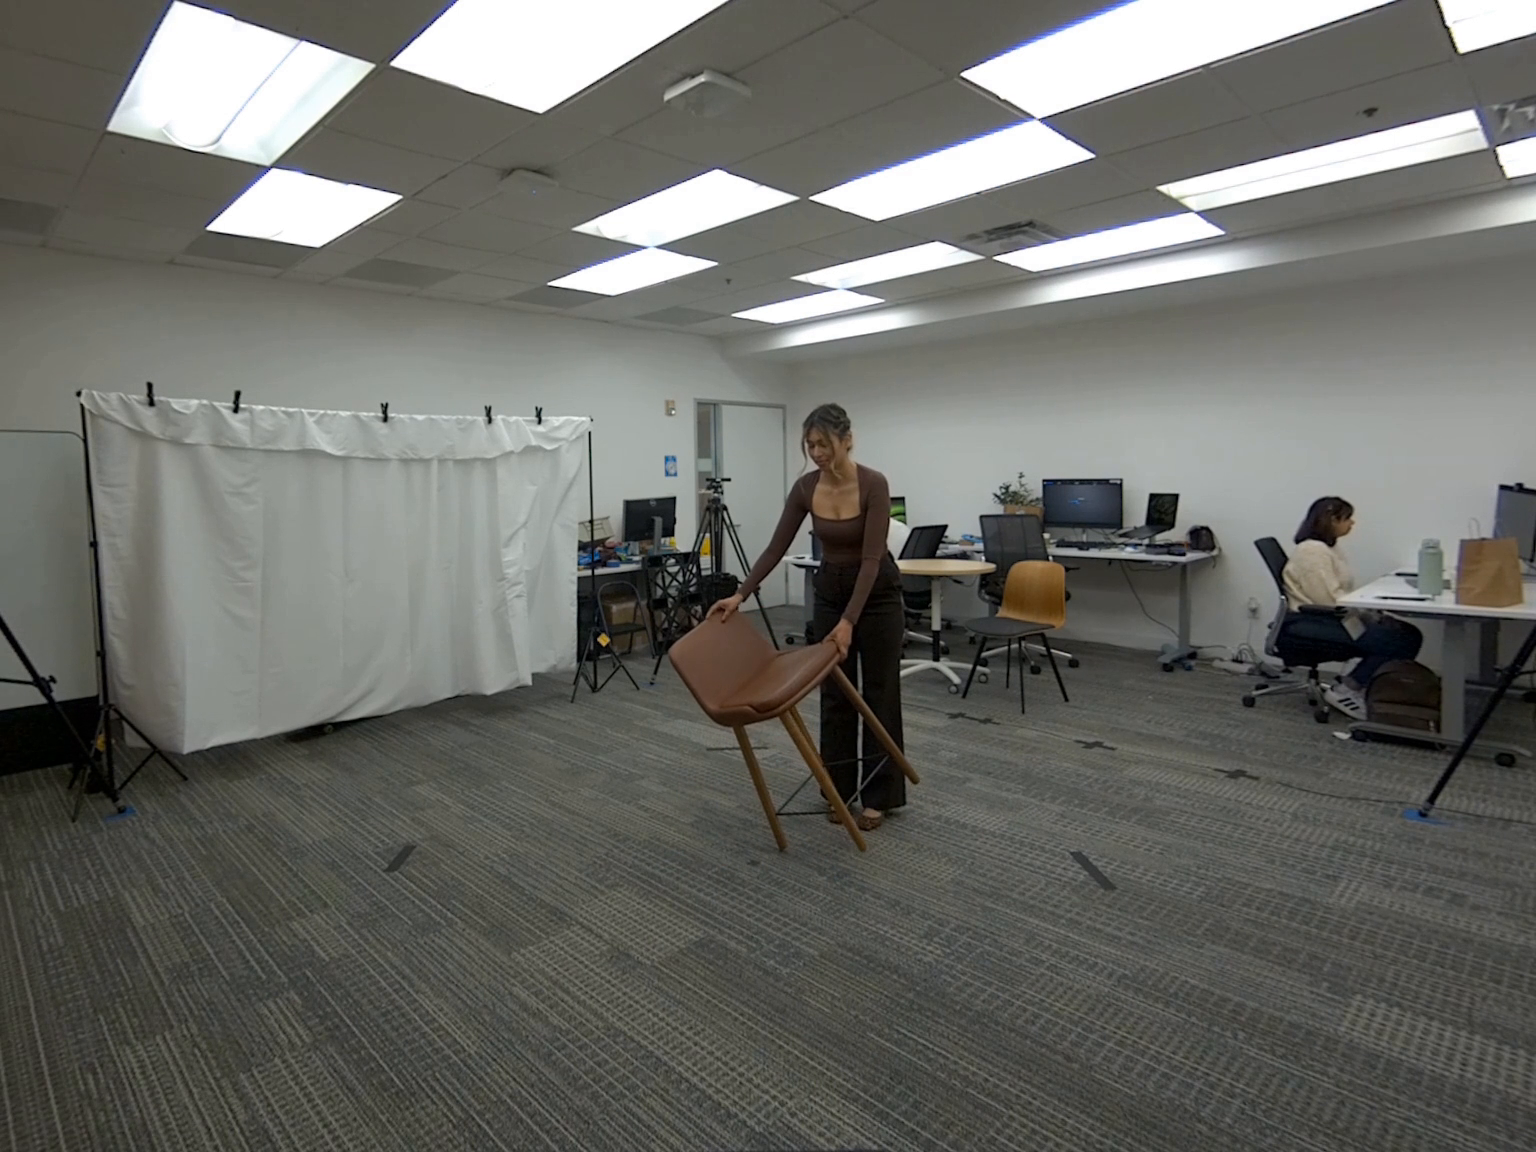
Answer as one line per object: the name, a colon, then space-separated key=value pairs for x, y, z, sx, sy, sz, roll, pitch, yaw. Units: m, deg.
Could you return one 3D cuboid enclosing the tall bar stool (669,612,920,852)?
tall bar stool: x=0.082 y=0.521 z=3.146 sx=0.452 sy=0.888 sz=0.474 roll=-32 pitch=3 yaw=-42
